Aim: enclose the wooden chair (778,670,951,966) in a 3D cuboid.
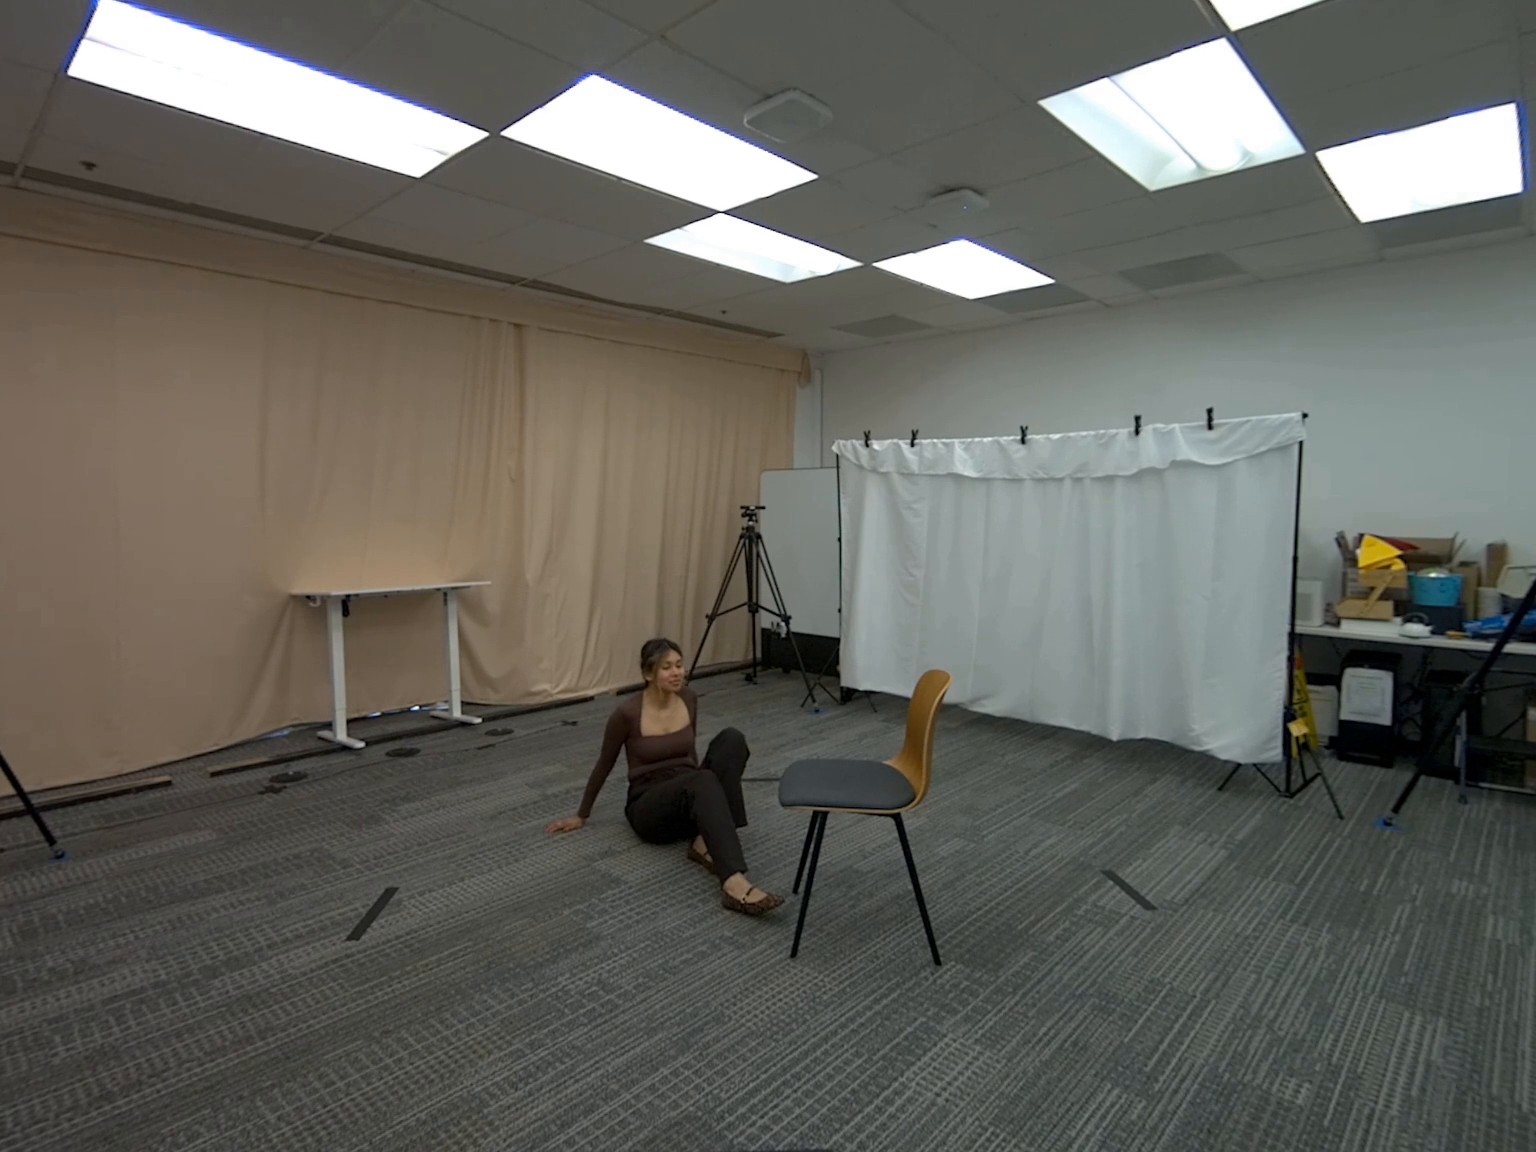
[{"bbox_3d":[0.304,0.735,2.756,0.526,0.875,0.476,4,4,4],"label":"wooden chair"}]
